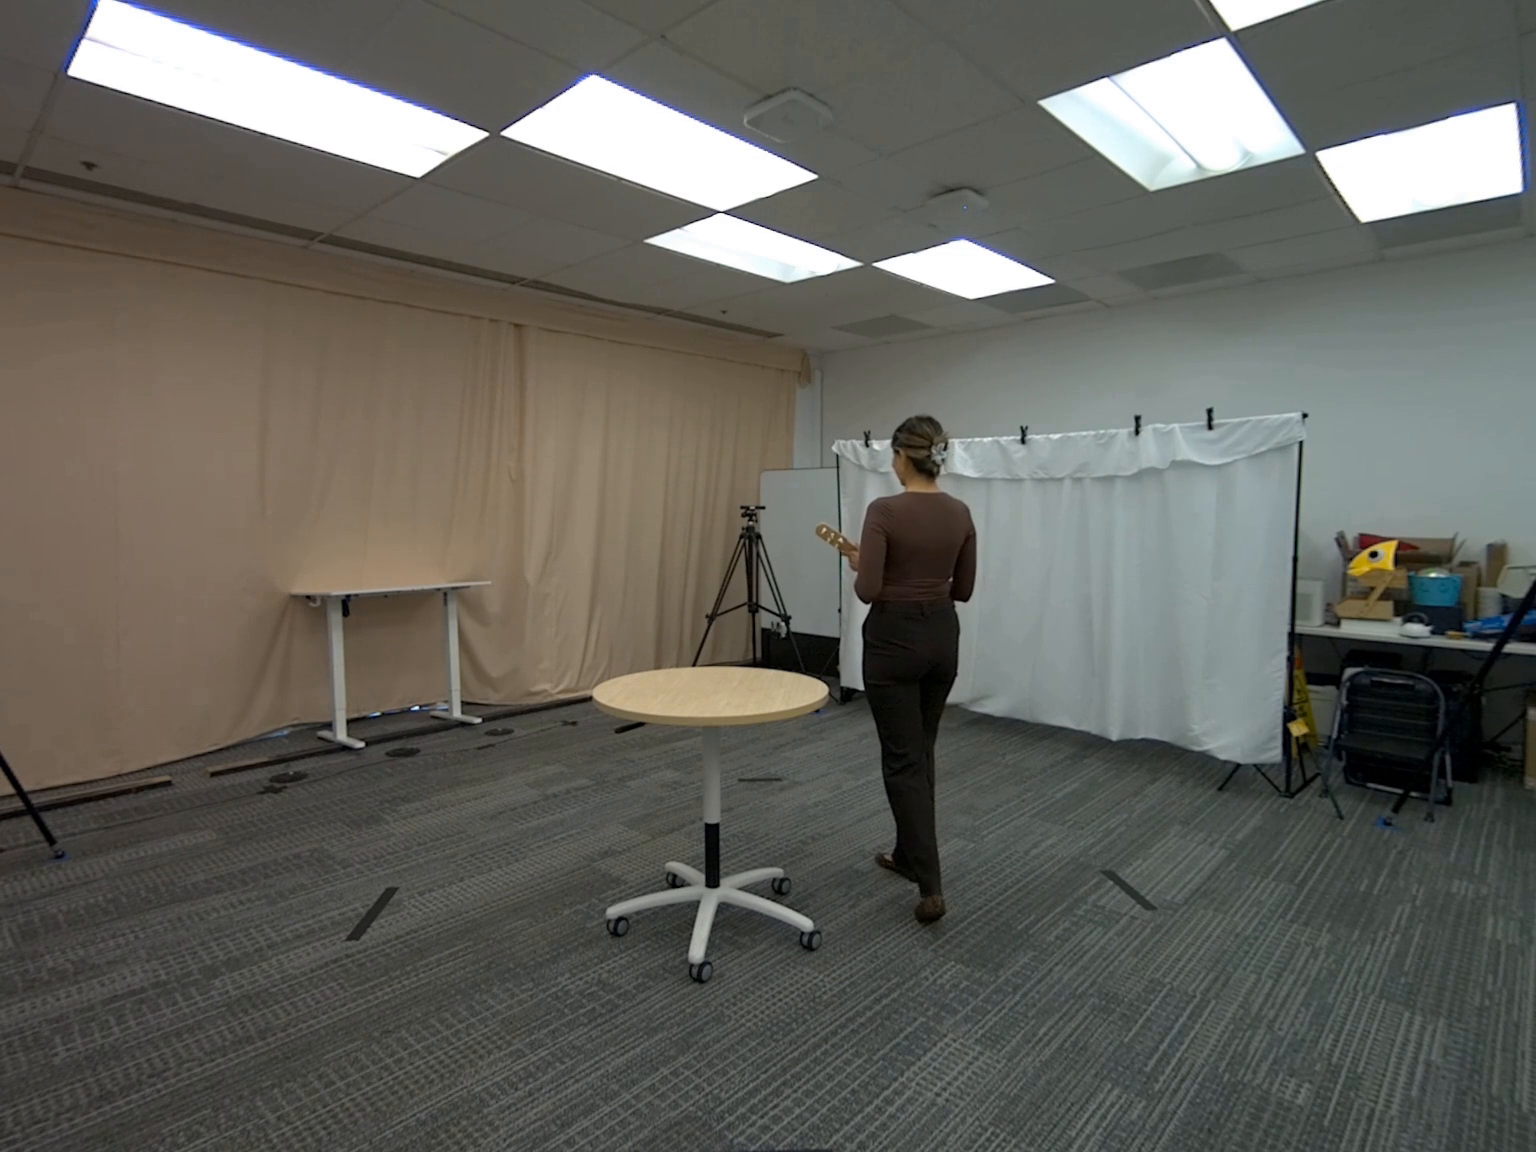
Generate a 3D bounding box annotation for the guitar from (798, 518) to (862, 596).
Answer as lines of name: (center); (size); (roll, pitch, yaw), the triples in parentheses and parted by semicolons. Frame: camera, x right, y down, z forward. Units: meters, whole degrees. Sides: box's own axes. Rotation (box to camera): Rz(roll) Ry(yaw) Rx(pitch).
guitar: (0.384, -0.019, 3.180); (0.498, 0.192, 0.071); (26, 26, 0)
